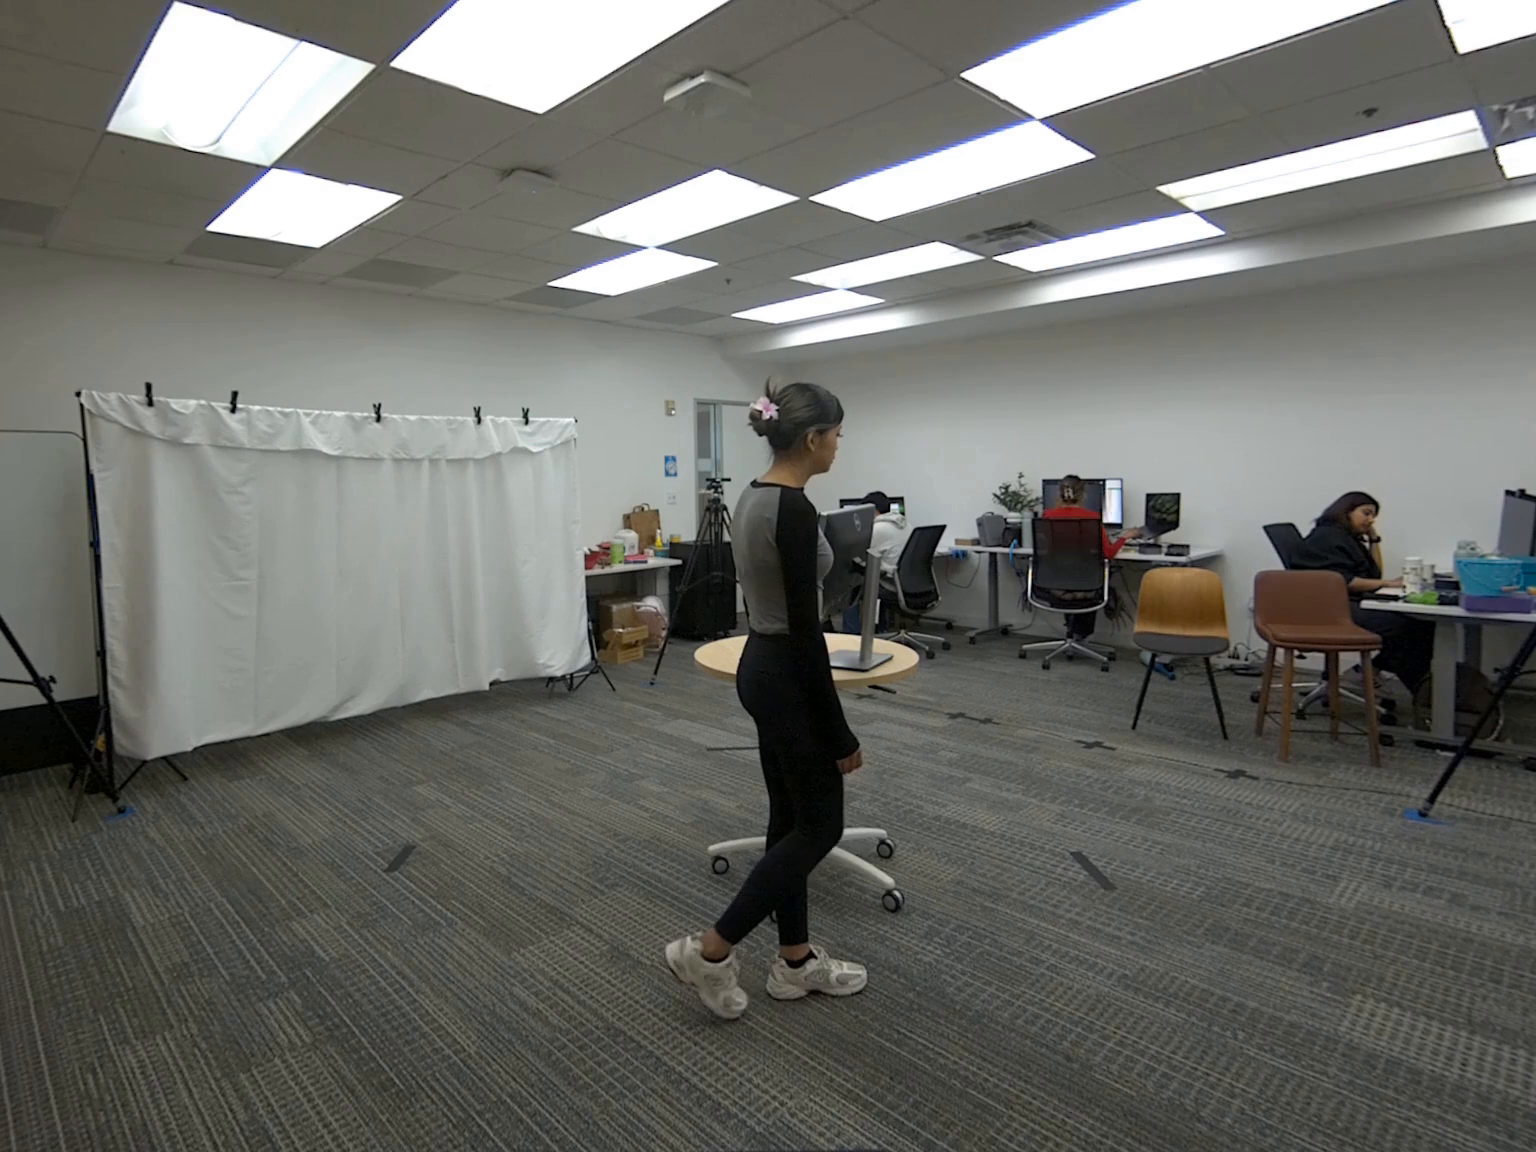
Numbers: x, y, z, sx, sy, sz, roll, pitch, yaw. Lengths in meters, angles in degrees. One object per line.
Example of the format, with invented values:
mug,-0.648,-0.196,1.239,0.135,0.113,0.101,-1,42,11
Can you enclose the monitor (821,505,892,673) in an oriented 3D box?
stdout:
monitor,0.280,0.040,2.786,0.191,0.521,0.530,-2,5,22
